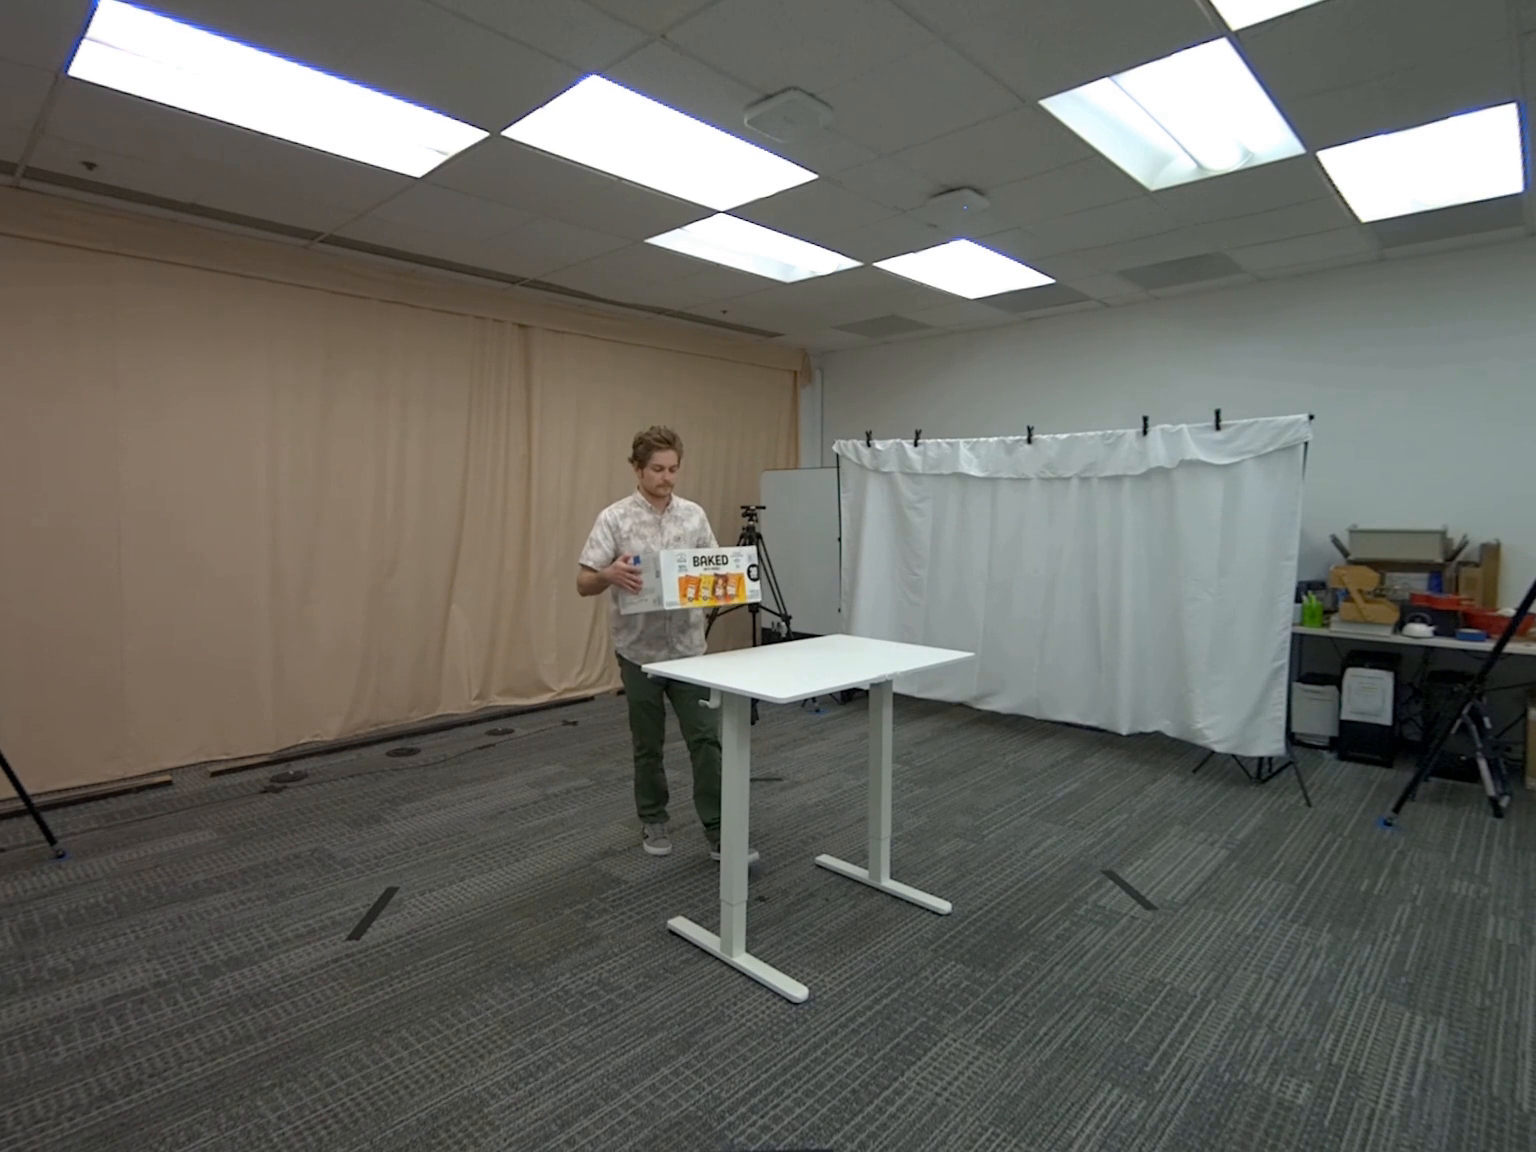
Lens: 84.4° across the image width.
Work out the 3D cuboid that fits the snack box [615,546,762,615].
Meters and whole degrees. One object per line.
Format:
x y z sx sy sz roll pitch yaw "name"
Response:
-0.290 0.020 3.066 0.393 0.206 0.349 -4 -4 -35 "snack box"
